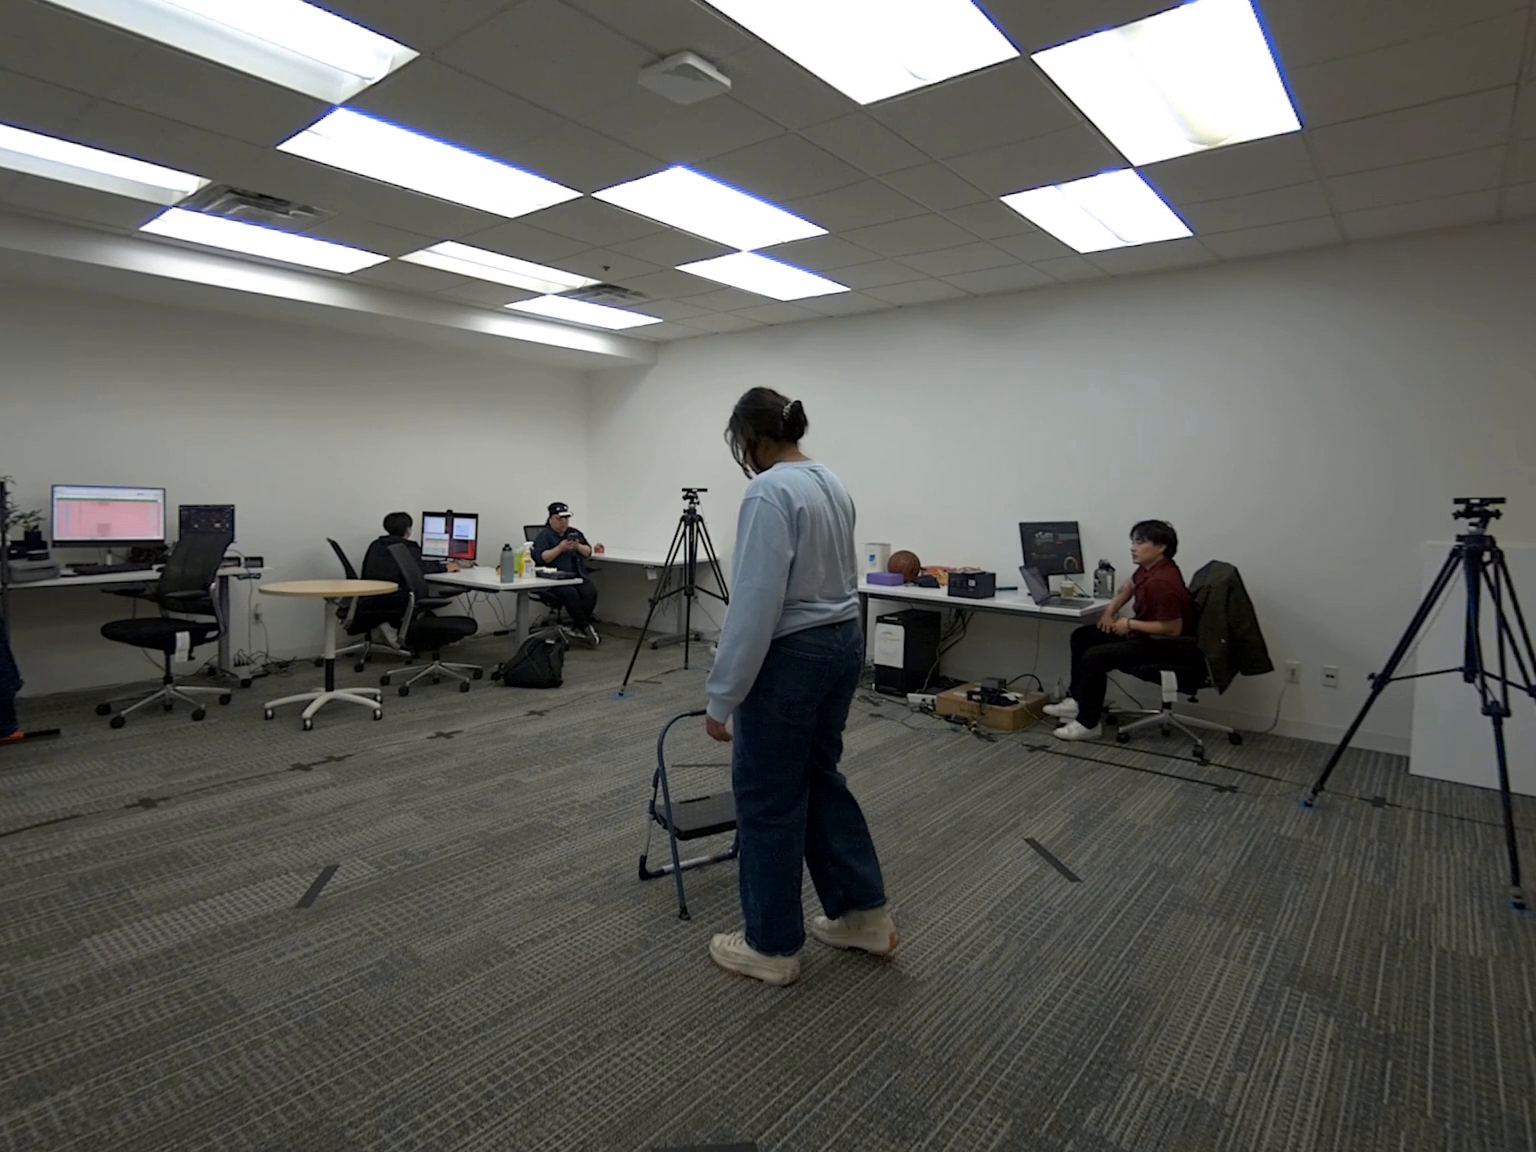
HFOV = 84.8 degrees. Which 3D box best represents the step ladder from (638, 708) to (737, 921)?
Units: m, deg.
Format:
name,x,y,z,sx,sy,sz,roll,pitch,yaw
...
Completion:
name,x,y,z,sx,sy,sz,roll,pitch,yaw
step ladder,-0.200,0.782,2.975,0.418,0.604,0.360,-1,4,-34
